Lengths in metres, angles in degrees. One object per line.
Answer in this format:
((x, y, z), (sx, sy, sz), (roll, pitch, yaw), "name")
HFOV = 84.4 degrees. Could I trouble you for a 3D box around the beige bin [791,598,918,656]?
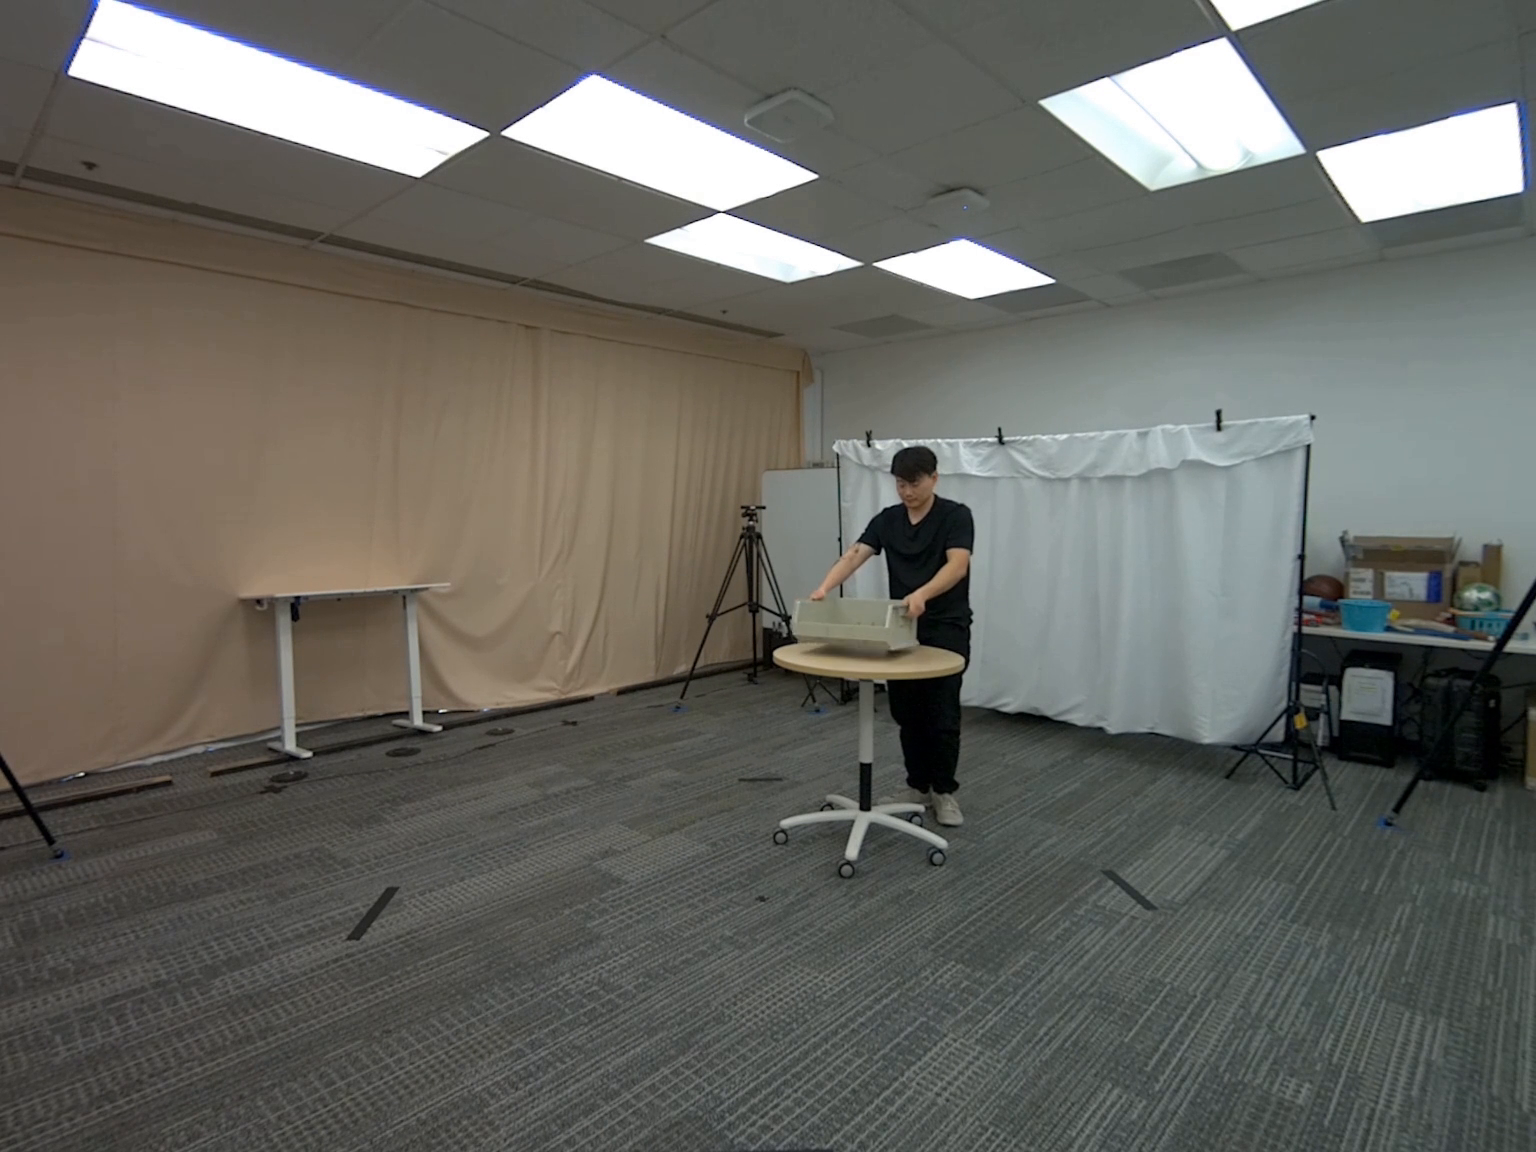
((0.366, 0.180, 3.475), (0.434, 0.189, 0.366), (1, -1, 30), "beige bin")
